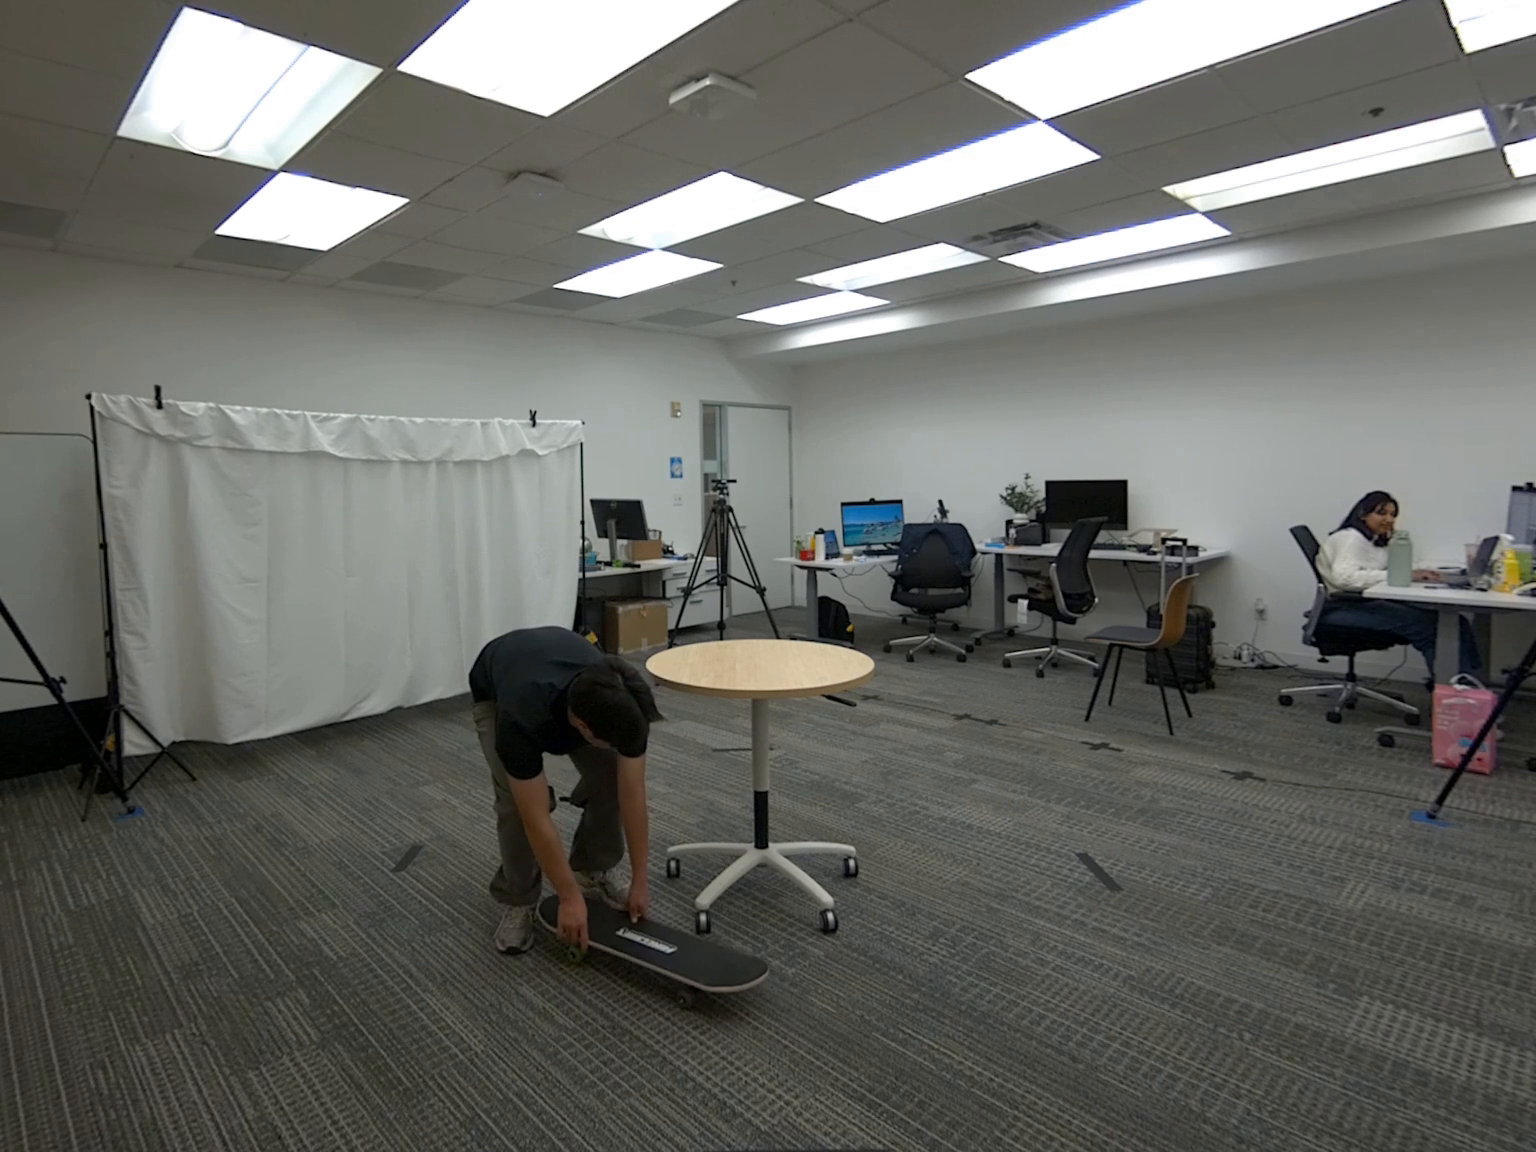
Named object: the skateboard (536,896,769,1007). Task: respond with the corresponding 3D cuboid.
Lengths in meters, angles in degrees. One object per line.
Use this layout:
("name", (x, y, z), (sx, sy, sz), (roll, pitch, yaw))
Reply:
("skateboard", (-0.340, 1.075, 2.432), (0.807, 0.110, 0.189), (3, 6, 33))
